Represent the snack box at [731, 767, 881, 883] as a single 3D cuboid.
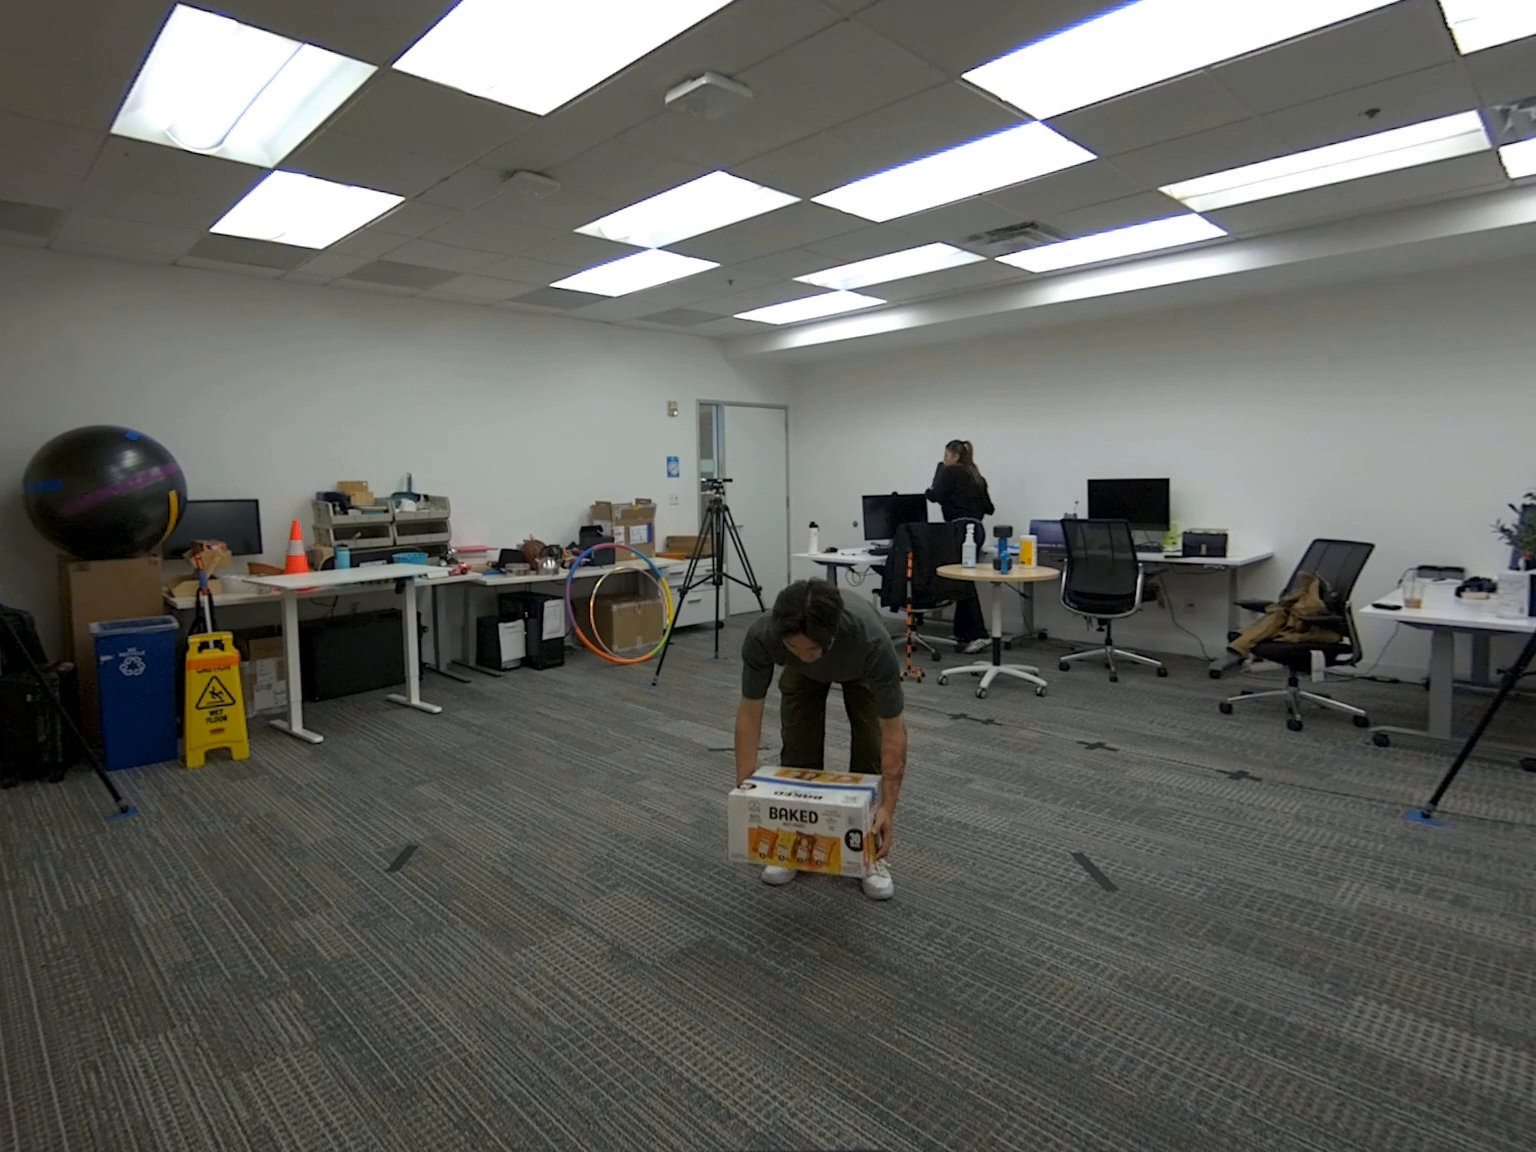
[{"bbox_3d":[0.134,0.746,2.621,0.413,0.206,0.334,1,1,19],"label":"snack box"}]
